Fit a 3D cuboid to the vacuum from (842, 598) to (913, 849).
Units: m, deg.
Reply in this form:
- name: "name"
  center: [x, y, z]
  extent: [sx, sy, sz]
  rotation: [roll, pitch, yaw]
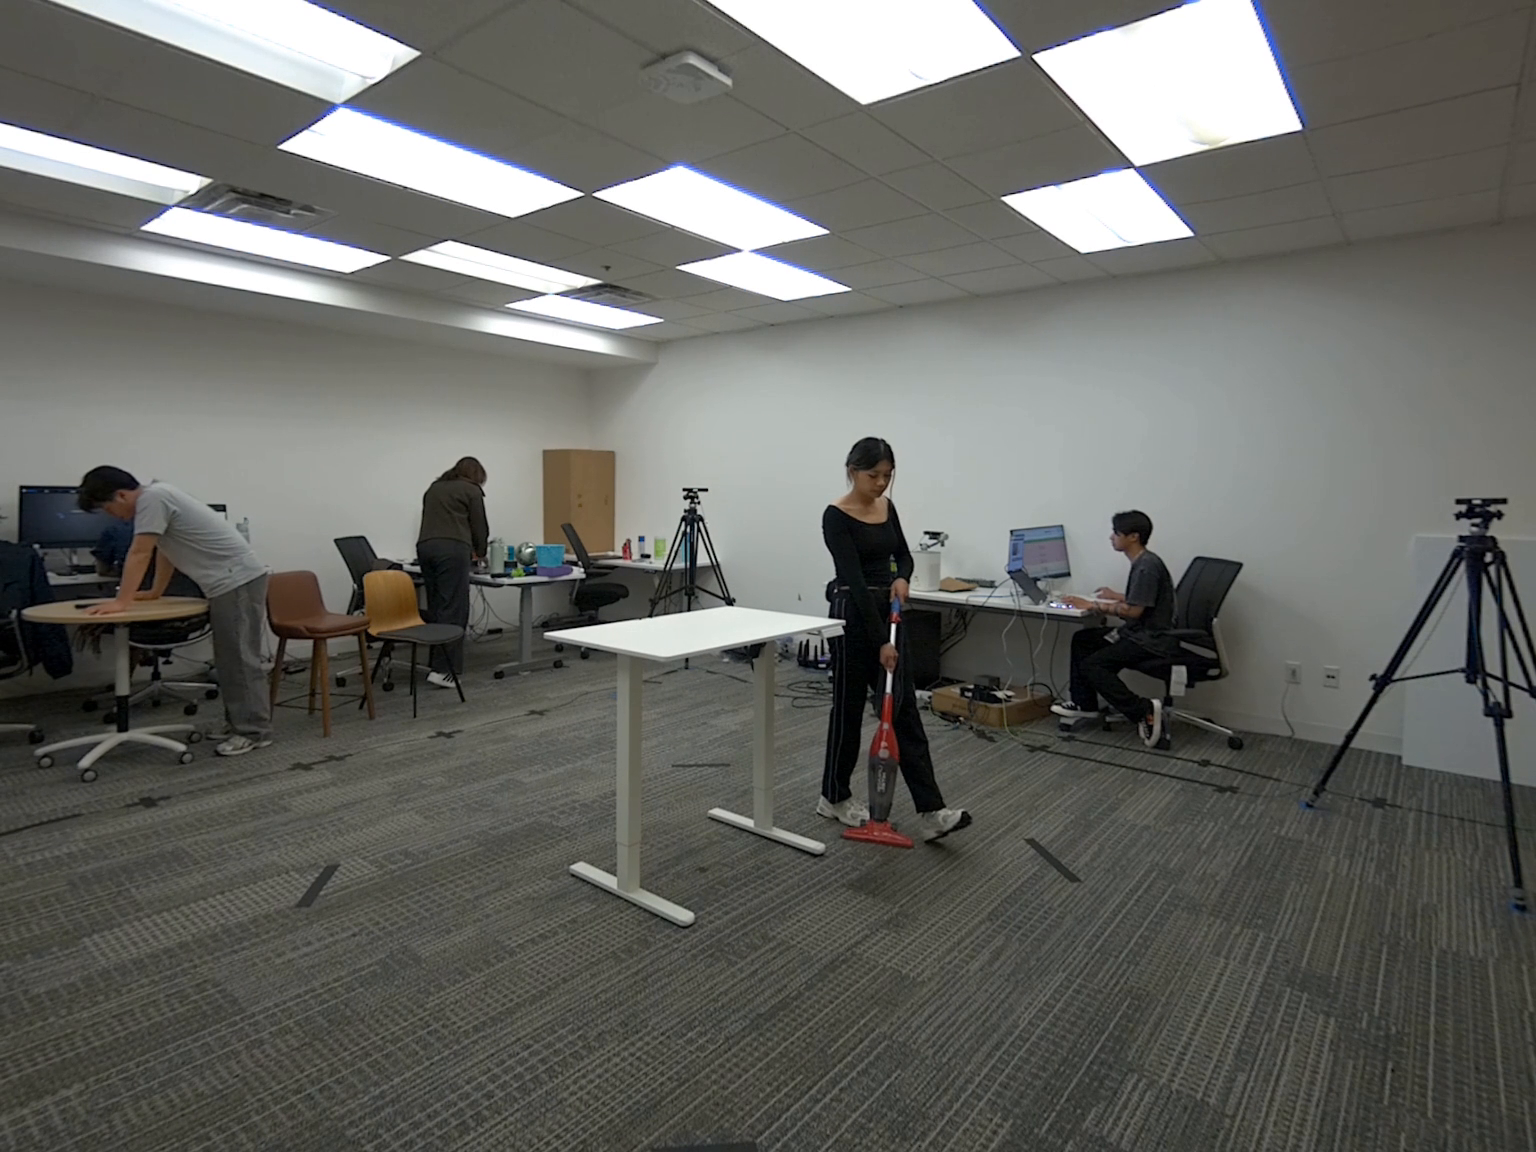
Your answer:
- name: "vacuum"
  center: [0.461, 0.468, 3.269]
  extent: [0.255, 1.070, 0.140]
  rotation: [5, -30, 7]
